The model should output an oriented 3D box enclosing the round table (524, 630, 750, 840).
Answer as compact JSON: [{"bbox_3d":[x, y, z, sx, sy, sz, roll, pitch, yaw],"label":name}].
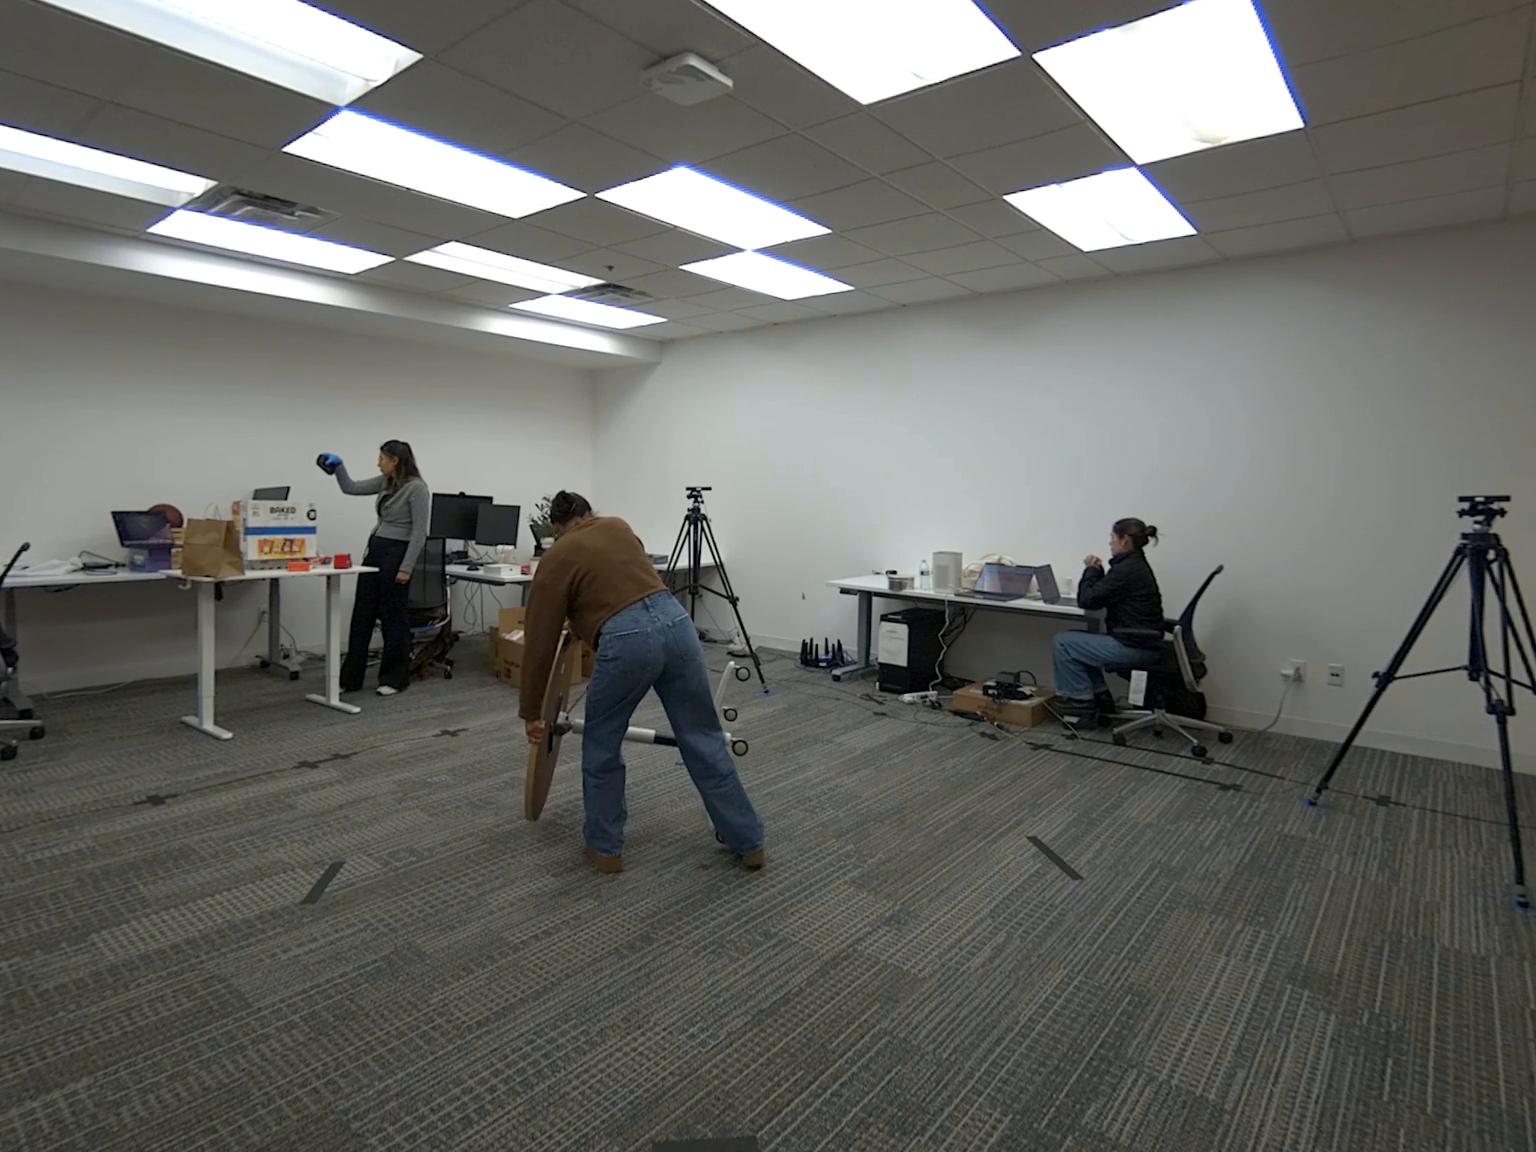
[{"bbox_3d":[-0.519,0.655,3.481,0.791,0.762,0.769,9,3,-4],"label":"round table"}]
